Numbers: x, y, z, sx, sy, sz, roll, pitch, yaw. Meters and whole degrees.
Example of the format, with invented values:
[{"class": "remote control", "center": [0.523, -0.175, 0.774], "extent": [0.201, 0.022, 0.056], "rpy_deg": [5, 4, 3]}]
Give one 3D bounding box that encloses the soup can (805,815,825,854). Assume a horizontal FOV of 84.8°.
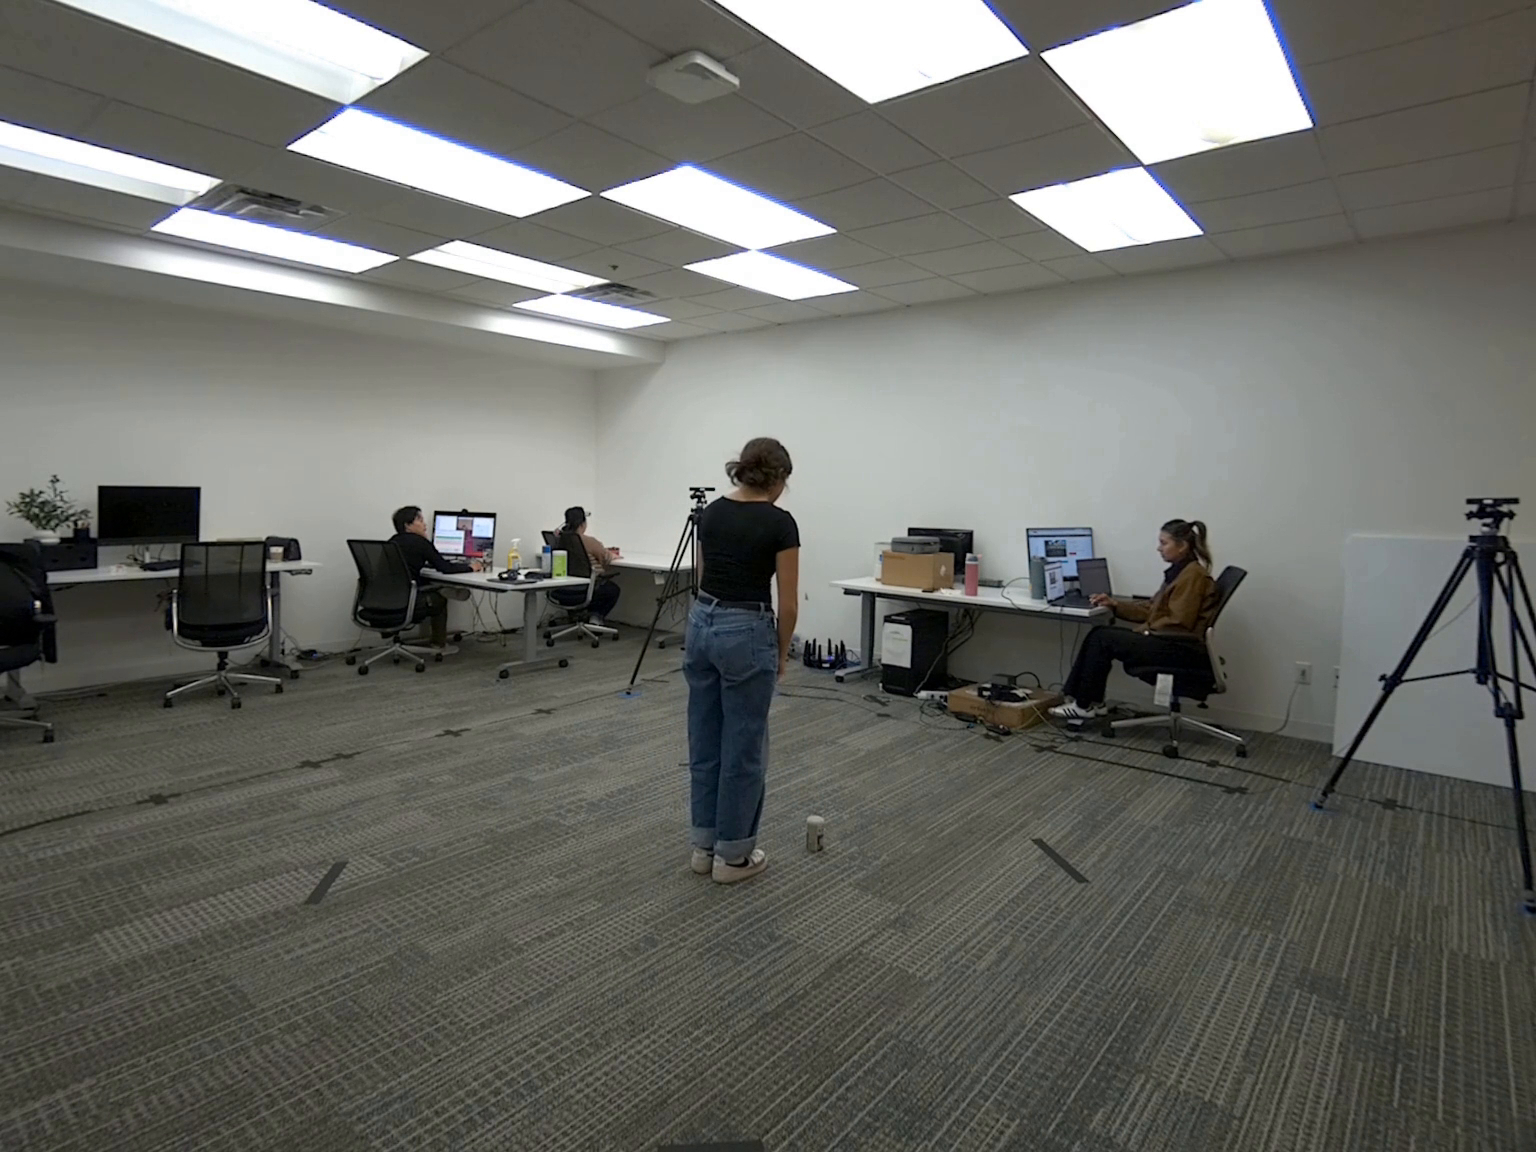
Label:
[{"class": "soup can", "center": [0.175, 1.002, 3.293], "extent": [0.067, 0.121, 0.068], "rpy_deg": [6, 7, -3]}]
